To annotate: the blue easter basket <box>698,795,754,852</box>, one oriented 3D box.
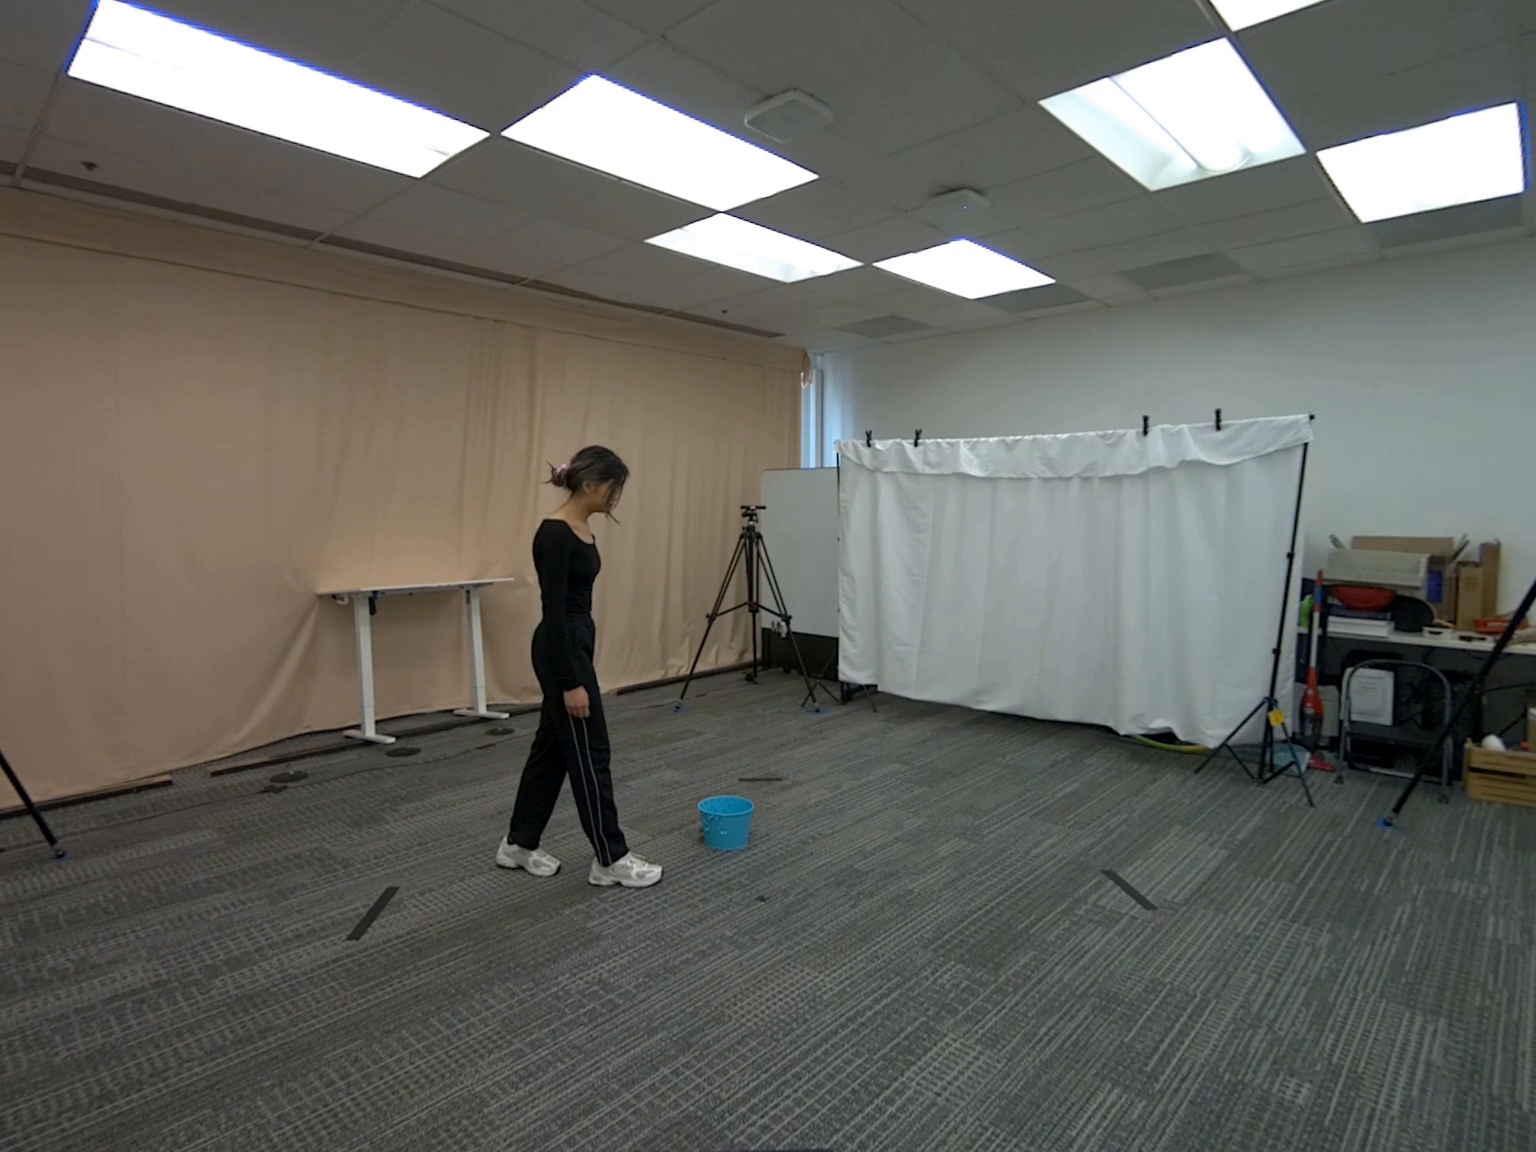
[{"bbox_3d":[-0.172,1.024,3.495,0.243,0.155,0.244,-1,4,-2],"label":"blue easter basket"}]
